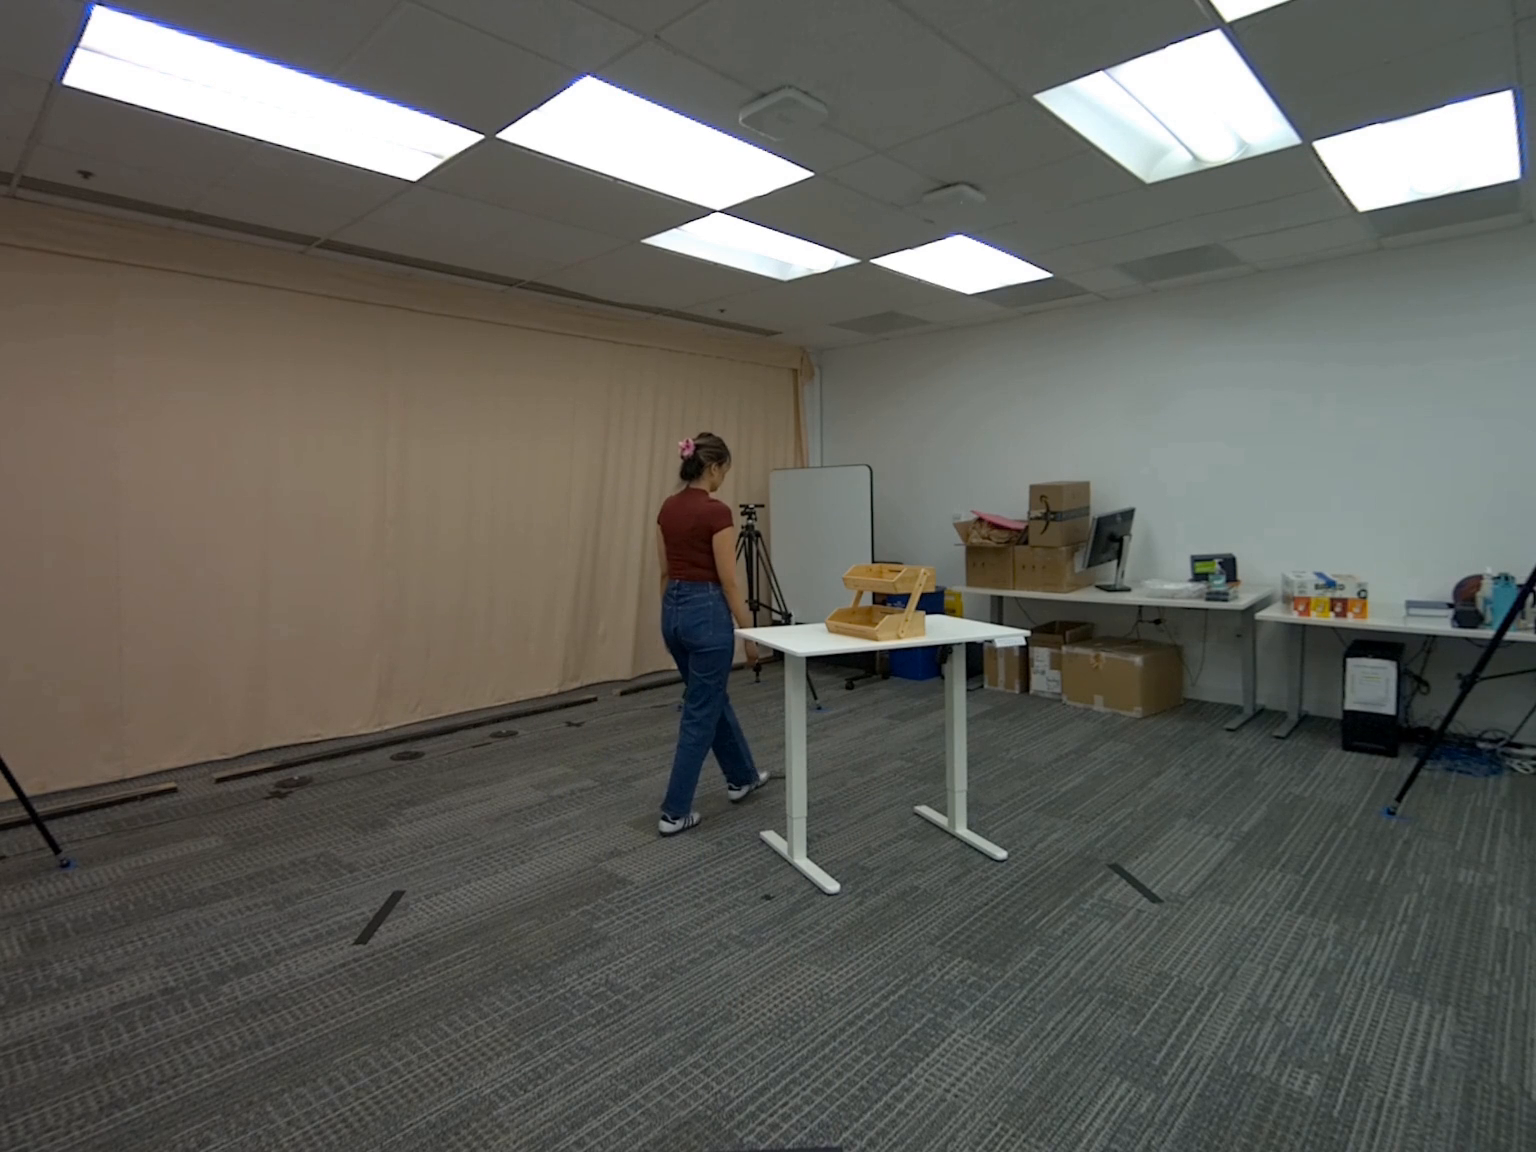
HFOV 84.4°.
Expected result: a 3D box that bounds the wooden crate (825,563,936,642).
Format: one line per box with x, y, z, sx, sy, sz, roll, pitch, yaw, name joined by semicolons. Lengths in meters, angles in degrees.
0.438;0.092;3.279;0.293;0.273;0.334;-2;4;-33;wooden crate
